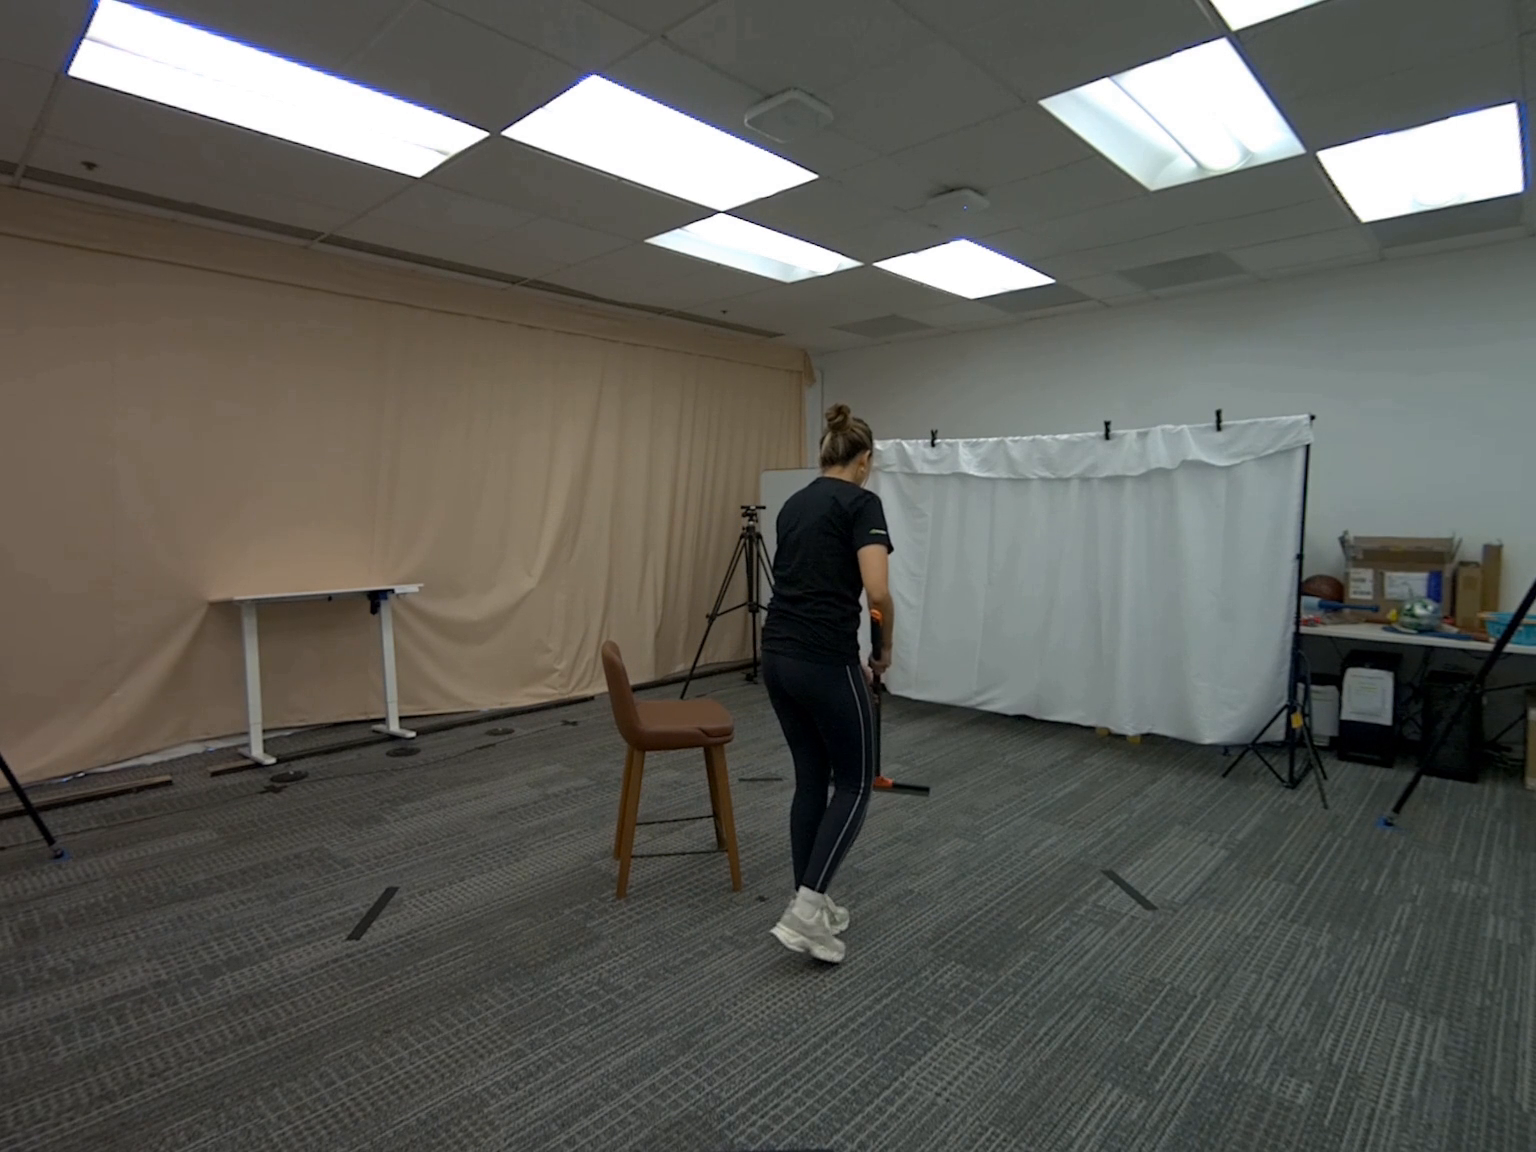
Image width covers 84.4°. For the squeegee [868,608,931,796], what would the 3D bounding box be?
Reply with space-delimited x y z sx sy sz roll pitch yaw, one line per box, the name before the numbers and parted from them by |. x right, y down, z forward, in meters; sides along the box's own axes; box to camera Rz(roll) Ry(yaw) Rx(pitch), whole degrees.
squeegee | 0.408 0.496 3.050 0.442 0.053 1.503 5 -34 9
